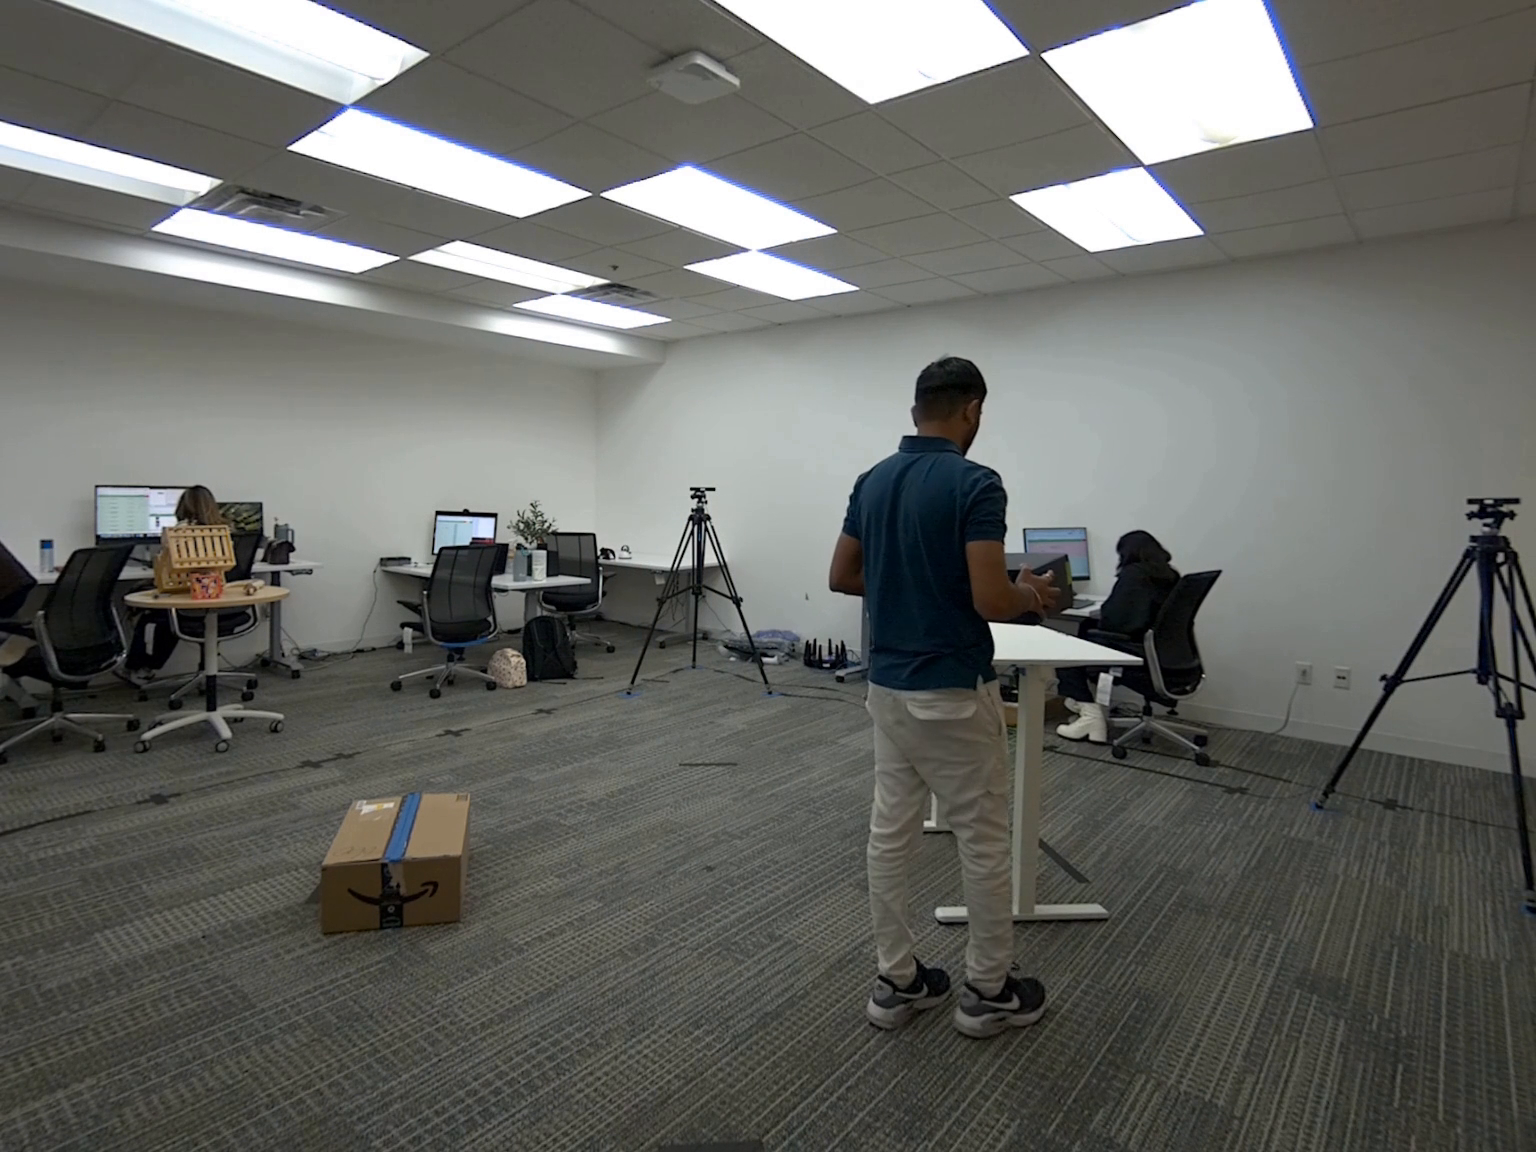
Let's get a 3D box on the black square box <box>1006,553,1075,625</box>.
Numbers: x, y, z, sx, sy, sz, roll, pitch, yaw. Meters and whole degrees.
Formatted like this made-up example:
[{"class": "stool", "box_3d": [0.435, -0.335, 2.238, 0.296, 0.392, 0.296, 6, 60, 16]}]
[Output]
[{"class": "black square box", "box_3d": [0.713, 0.029, 2.431, 0.212, 0.154, 0.235, -17, 12, -39]}]
